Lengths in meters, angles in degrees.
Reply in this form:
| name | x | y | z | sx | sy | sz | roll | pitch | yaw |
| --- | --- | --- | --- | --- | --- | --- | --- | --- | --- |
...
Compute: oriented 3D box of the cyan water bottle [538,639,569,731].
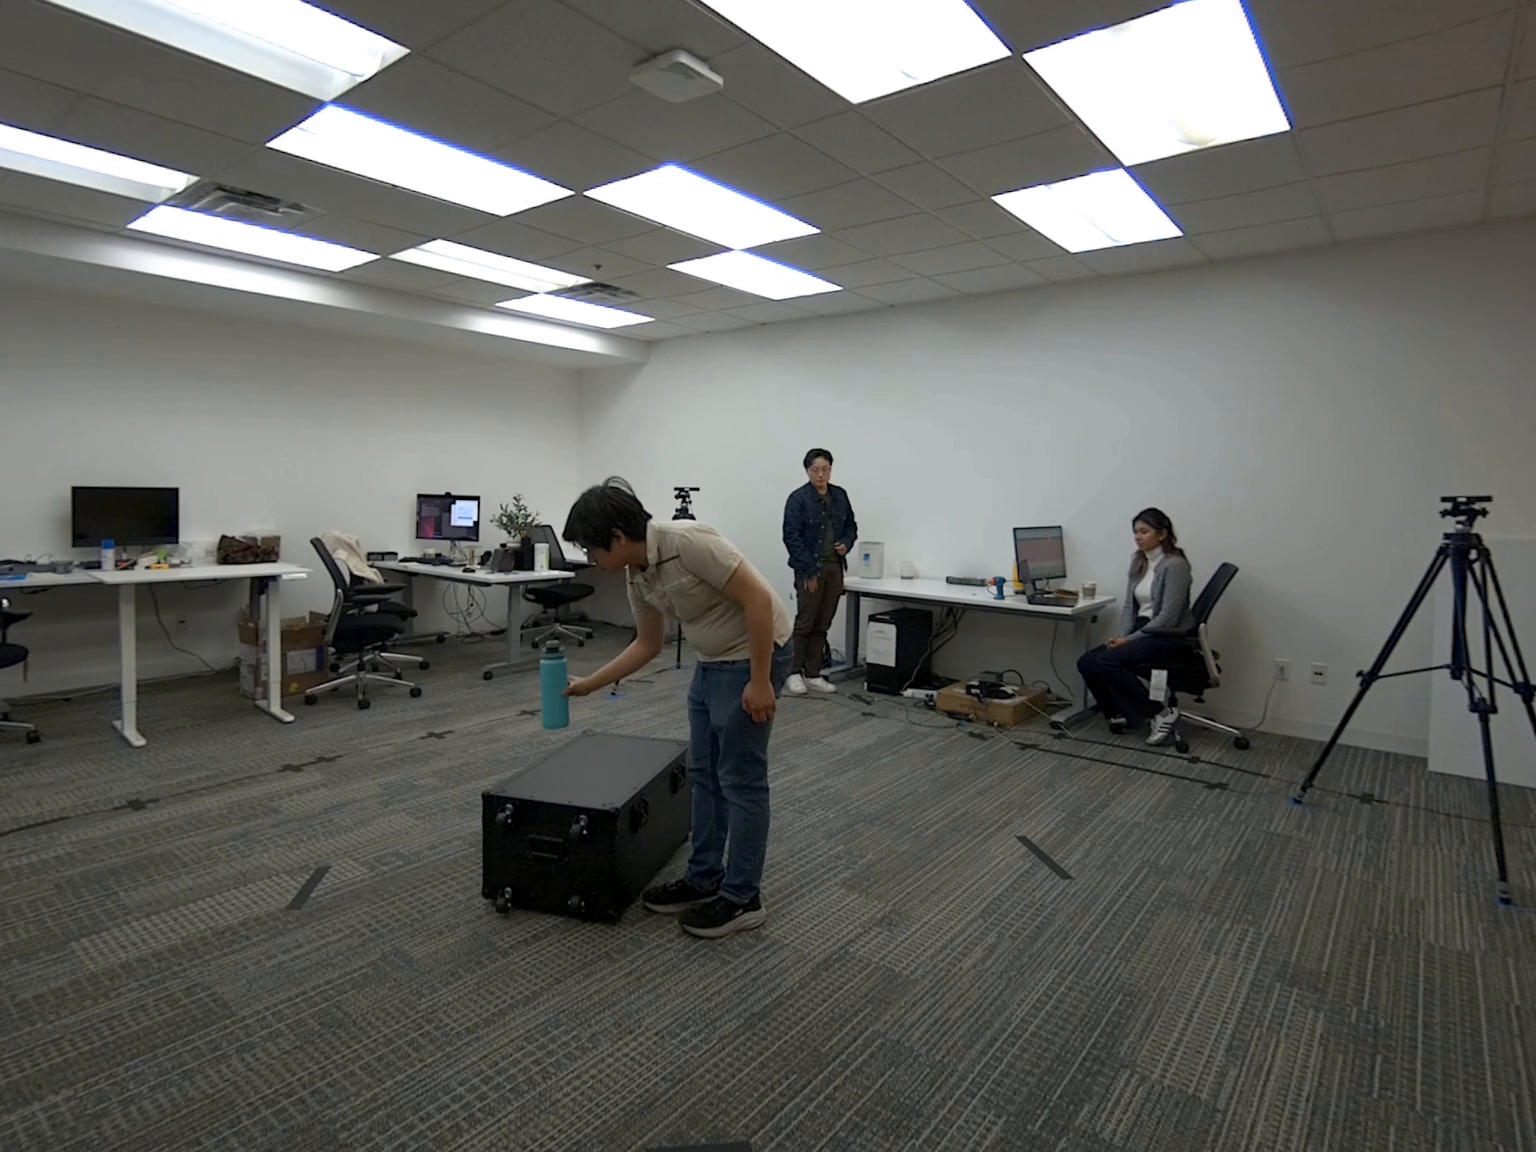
| name | x | y | z | sx | sy | sz | roll | pitch | yaw |
| --- | --- | --- | --- | --- | --- | --- | --- | --- | --- |
| cyan water bottle | -0.716 | 0.355 | 2.799 | 0.092 | 0.283 | 0.092 | -2 | 1 | -2 |
